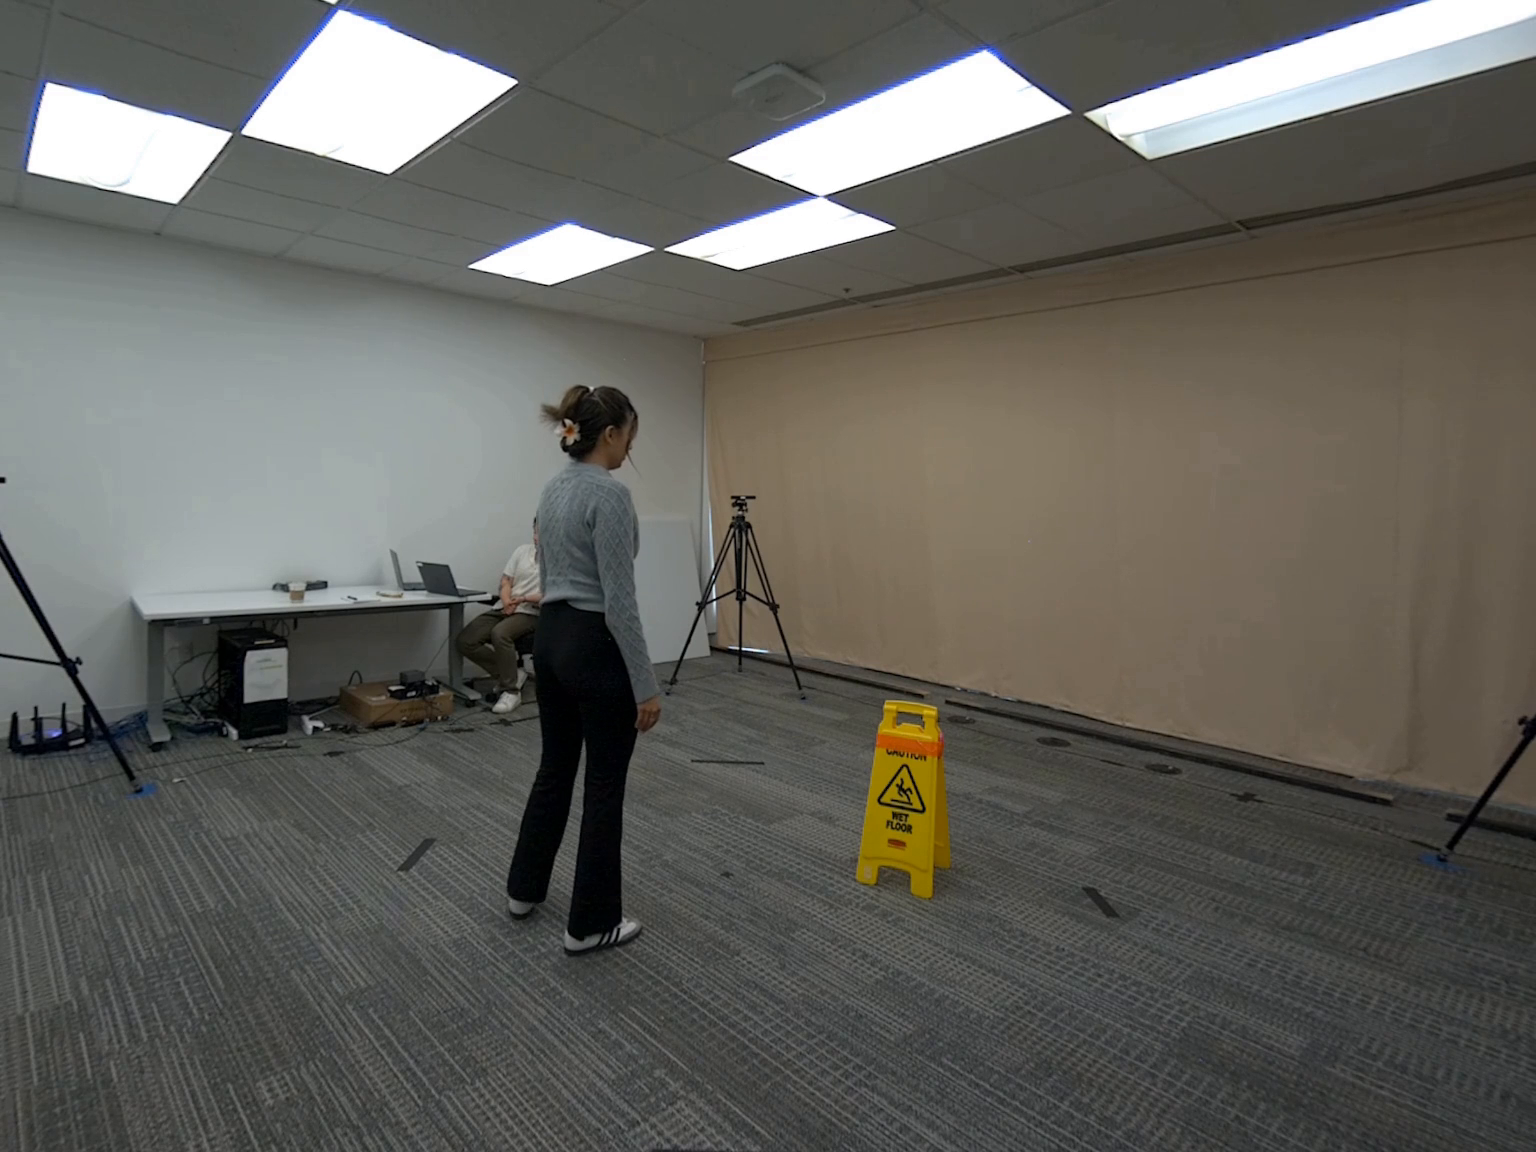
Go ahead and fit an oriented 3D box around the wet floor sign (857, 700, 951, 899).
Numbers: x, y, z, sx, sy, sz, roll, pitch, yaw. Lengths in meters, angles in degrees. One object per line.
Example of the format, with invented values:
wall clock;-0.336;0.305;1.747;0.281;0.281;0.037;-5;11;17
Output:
wet floor sign;0.514;0.793;3.129;0.288;0.645;0.284;4;3;25
